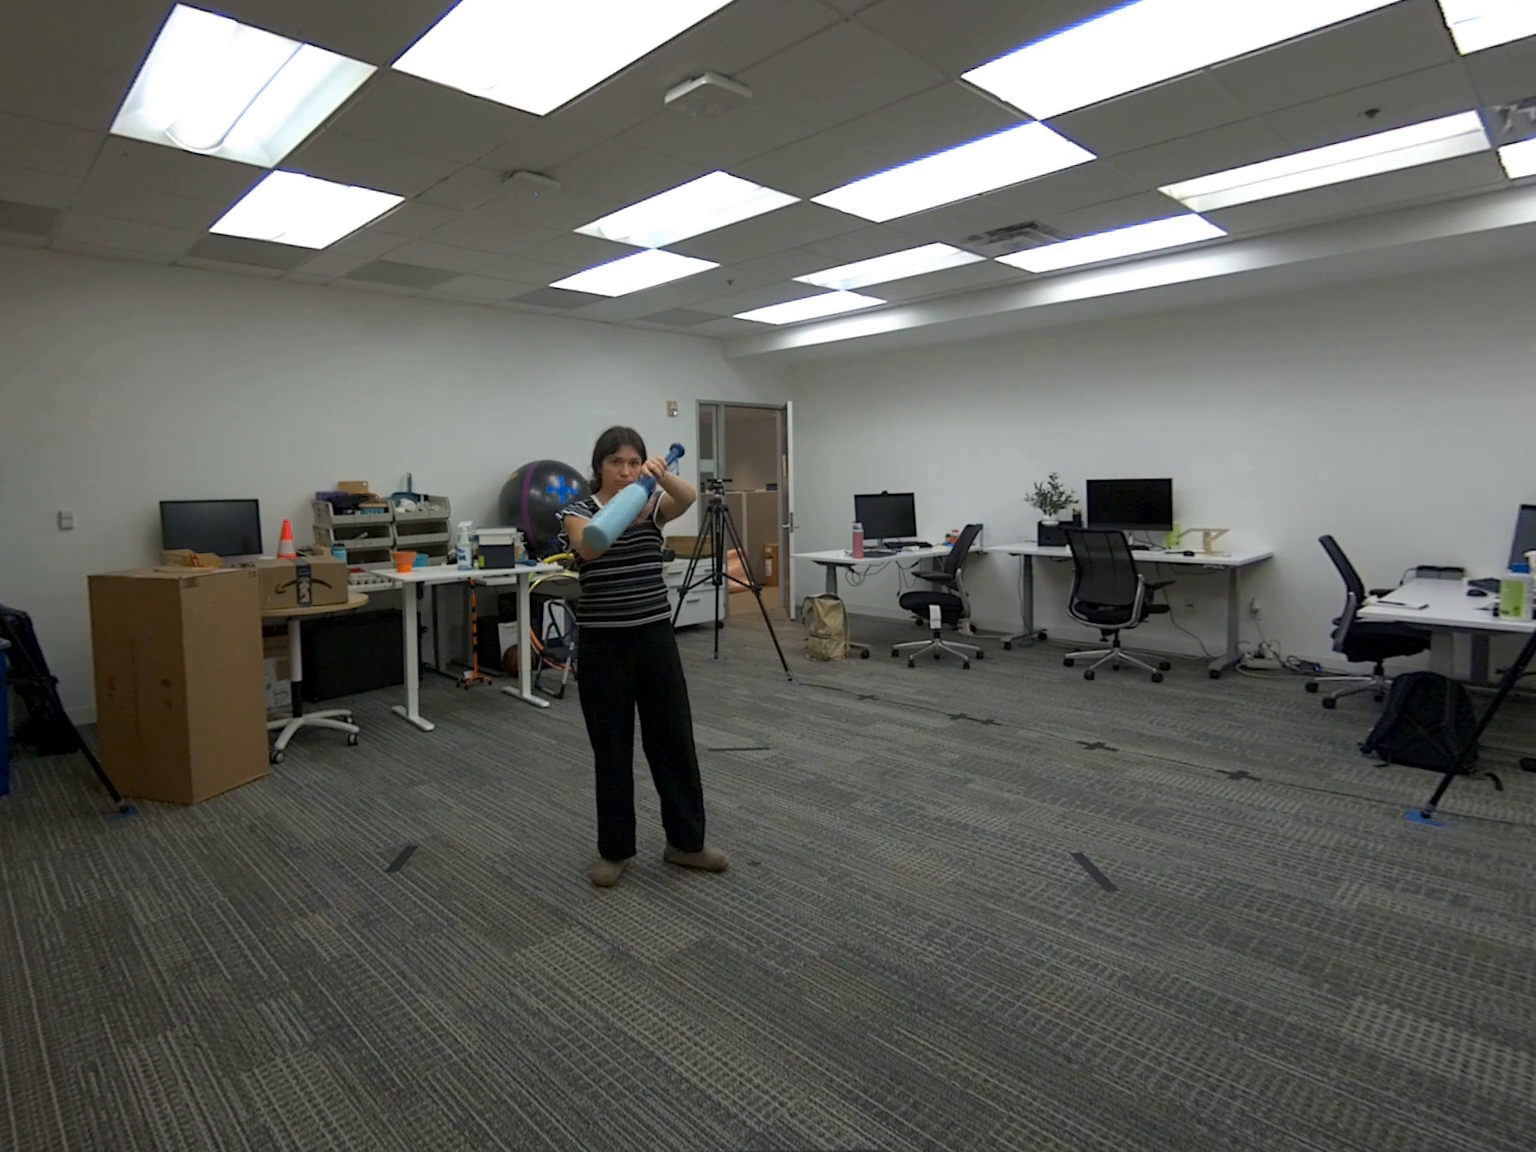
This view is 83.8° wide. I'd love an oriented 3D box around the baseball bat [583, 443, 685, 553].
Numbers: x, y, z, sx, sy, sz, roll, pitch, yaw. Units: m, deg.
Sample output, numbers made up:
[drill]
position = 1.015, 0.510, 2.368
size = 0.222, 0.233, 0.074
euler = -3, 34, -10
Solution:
[baseball bat]
position = -0.373, -0.249, 2.507
size = 0.091, 0.086, 0.547
euler = 1, 35, 24
